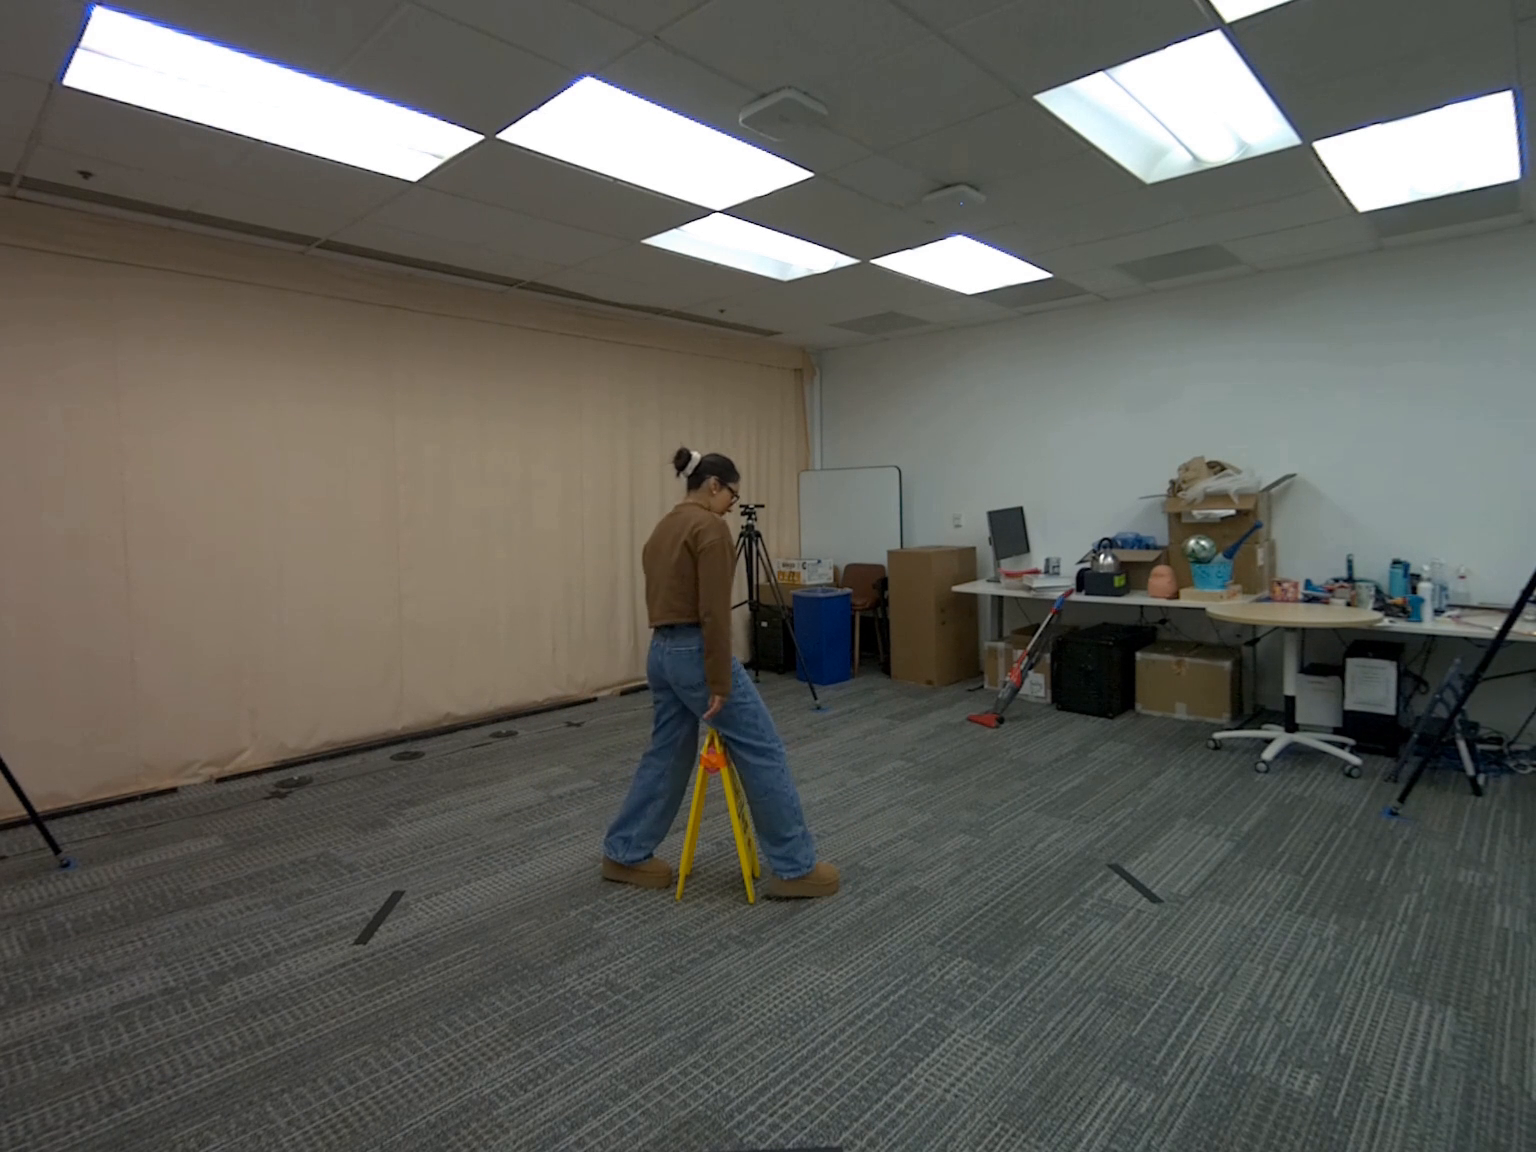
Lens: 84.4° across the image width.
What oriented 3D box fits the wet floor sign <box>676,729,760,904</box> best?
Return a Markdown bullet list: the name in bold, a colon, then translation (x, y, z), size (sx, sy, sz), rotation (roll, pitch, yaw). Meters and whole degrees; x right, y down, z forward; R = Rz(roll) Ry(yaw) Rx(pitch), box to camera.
- **wet floor sign**: translation (-0.190, 0.820, 3.067), size (0.292, 0.645, 0.280), rotation (-1, 2, 6)
